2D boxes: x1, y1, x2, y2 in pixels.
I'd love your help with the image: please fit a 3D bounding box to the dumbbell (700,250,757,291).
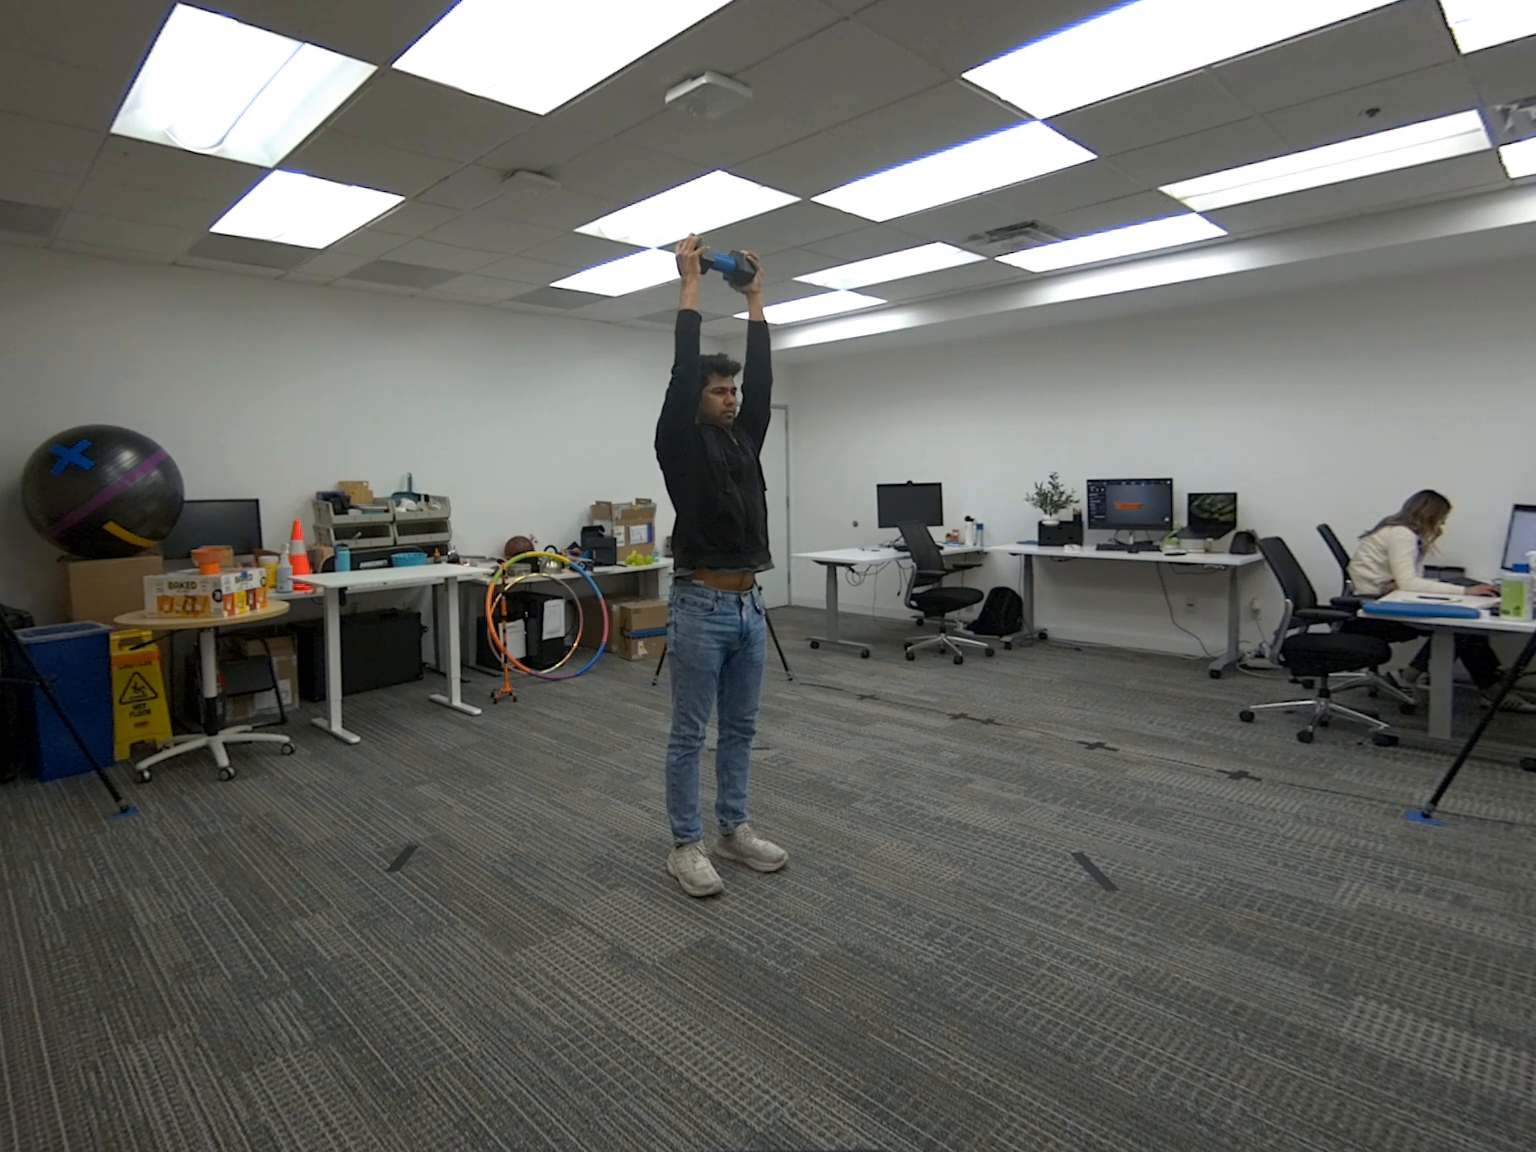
[{"bbox_3d":[-0.167,-1.090,2.974,0.127,0.107,0.286,27,21,37],"label":"dumbbell"}]
